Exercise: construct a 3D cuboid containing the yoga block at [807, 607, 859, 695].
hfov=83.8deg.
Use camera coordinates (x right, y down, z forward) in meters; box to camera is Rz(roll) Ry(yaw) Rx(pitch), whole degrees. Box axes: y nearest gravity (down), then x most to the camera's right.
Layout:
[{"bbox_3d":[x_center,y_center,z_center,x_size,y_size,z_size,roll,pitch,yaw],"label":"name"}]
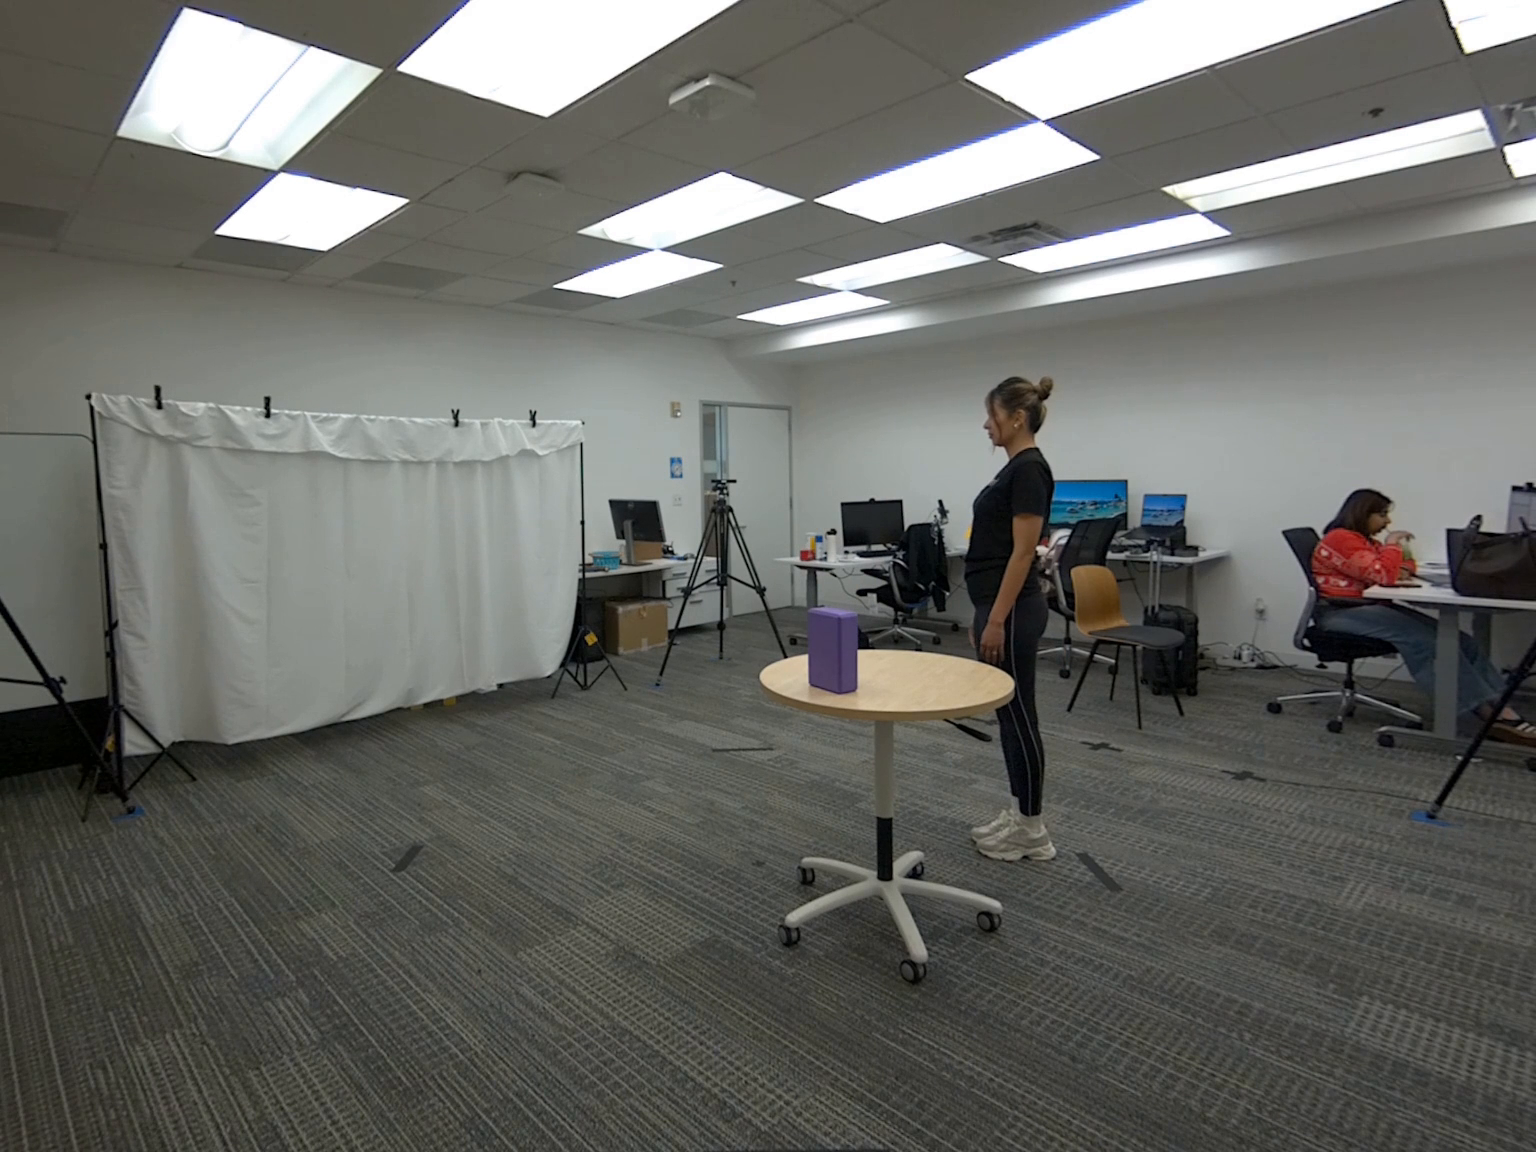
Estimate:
[{"bbox_3d":[0.196,0.215,2.492,0.074,0.228,0.153,-4,6,-35],"label":"yoga block"}]
